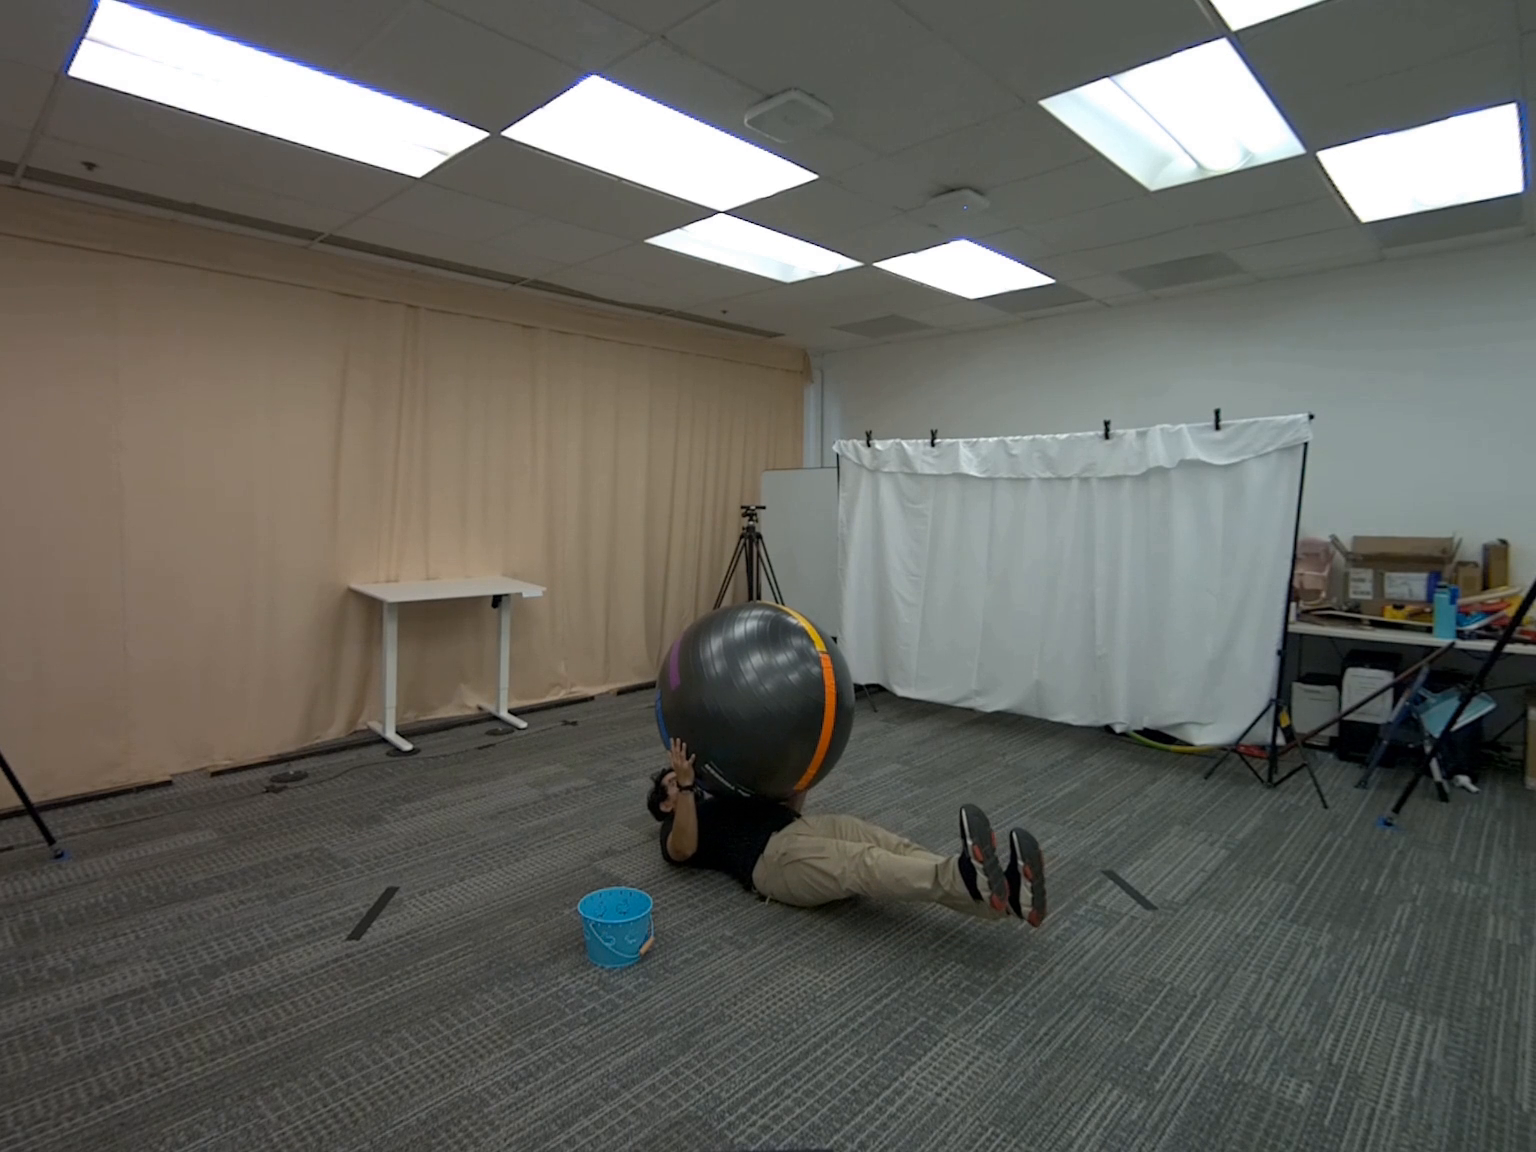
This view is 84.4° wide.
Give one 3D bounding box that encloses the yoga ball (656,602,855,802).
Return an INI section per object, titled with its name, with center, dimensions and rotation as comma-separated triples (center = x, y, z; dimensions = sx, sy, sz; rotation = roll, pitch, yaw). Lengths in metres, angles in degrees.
[yoga ball]
center = -0.046, 0.479, 3.207
dimensions = 0.757, 0.756, 0.761
rotation = 0, 4, -2
